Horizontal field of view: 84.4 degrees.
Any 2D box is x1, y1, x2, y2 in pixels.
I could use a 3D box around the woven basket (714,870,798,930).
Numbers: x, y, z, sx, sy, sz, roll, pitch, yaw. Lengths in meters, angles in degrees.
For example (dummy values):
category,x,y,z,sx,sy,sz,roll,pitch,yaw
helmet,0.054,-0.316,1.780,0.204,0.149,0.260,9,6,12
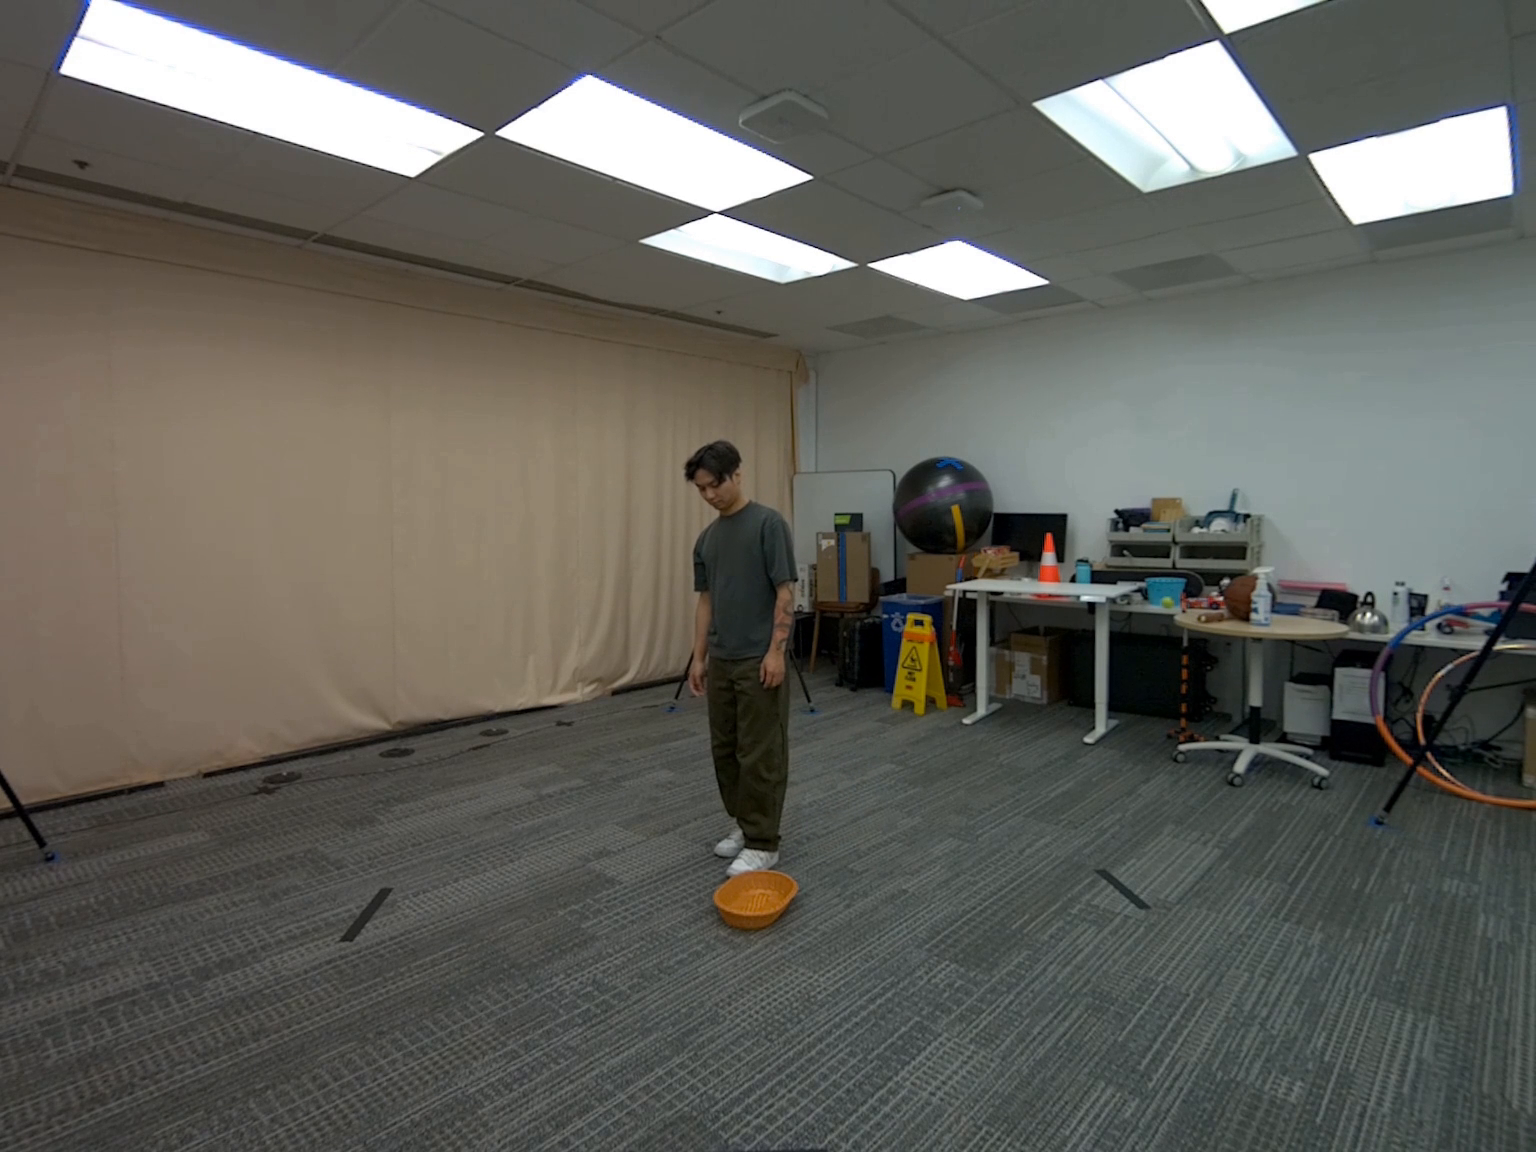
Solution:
category,x,y,z,sx,sy,sz,roll,pitch,yaw
woven basket,-0.038,1.105,2.895,0.259,0.073,0.342,2,5,27
